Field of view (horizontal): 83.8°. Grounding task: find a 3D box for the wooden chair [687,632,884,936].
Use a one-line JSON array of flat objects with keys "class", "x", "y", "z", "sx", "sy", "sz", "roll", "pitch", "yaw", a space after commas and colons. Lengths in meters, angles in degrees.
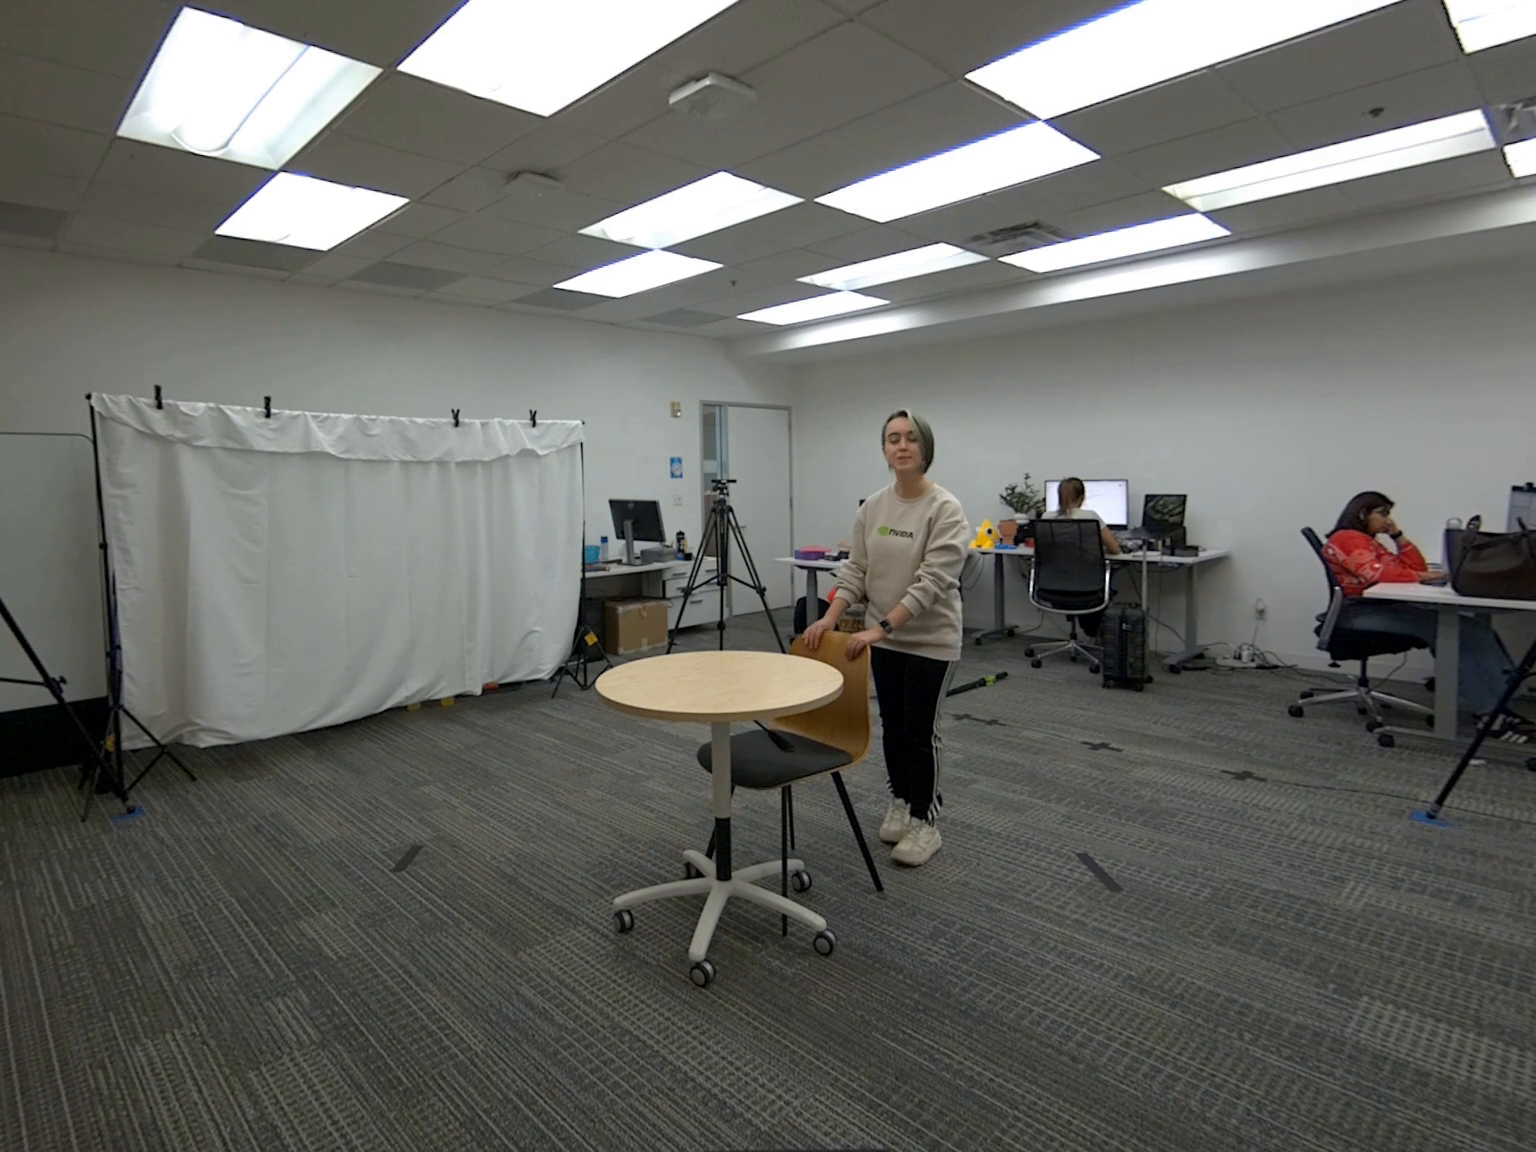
[{"class": "wooden chair", "x": 0.062, "y": 0.645, "z": 2.883, "sx": 0.508, "sy": 0.876, "sz": 0.493, "roll": 1, "pitch": 2, "yaw": -39}]
